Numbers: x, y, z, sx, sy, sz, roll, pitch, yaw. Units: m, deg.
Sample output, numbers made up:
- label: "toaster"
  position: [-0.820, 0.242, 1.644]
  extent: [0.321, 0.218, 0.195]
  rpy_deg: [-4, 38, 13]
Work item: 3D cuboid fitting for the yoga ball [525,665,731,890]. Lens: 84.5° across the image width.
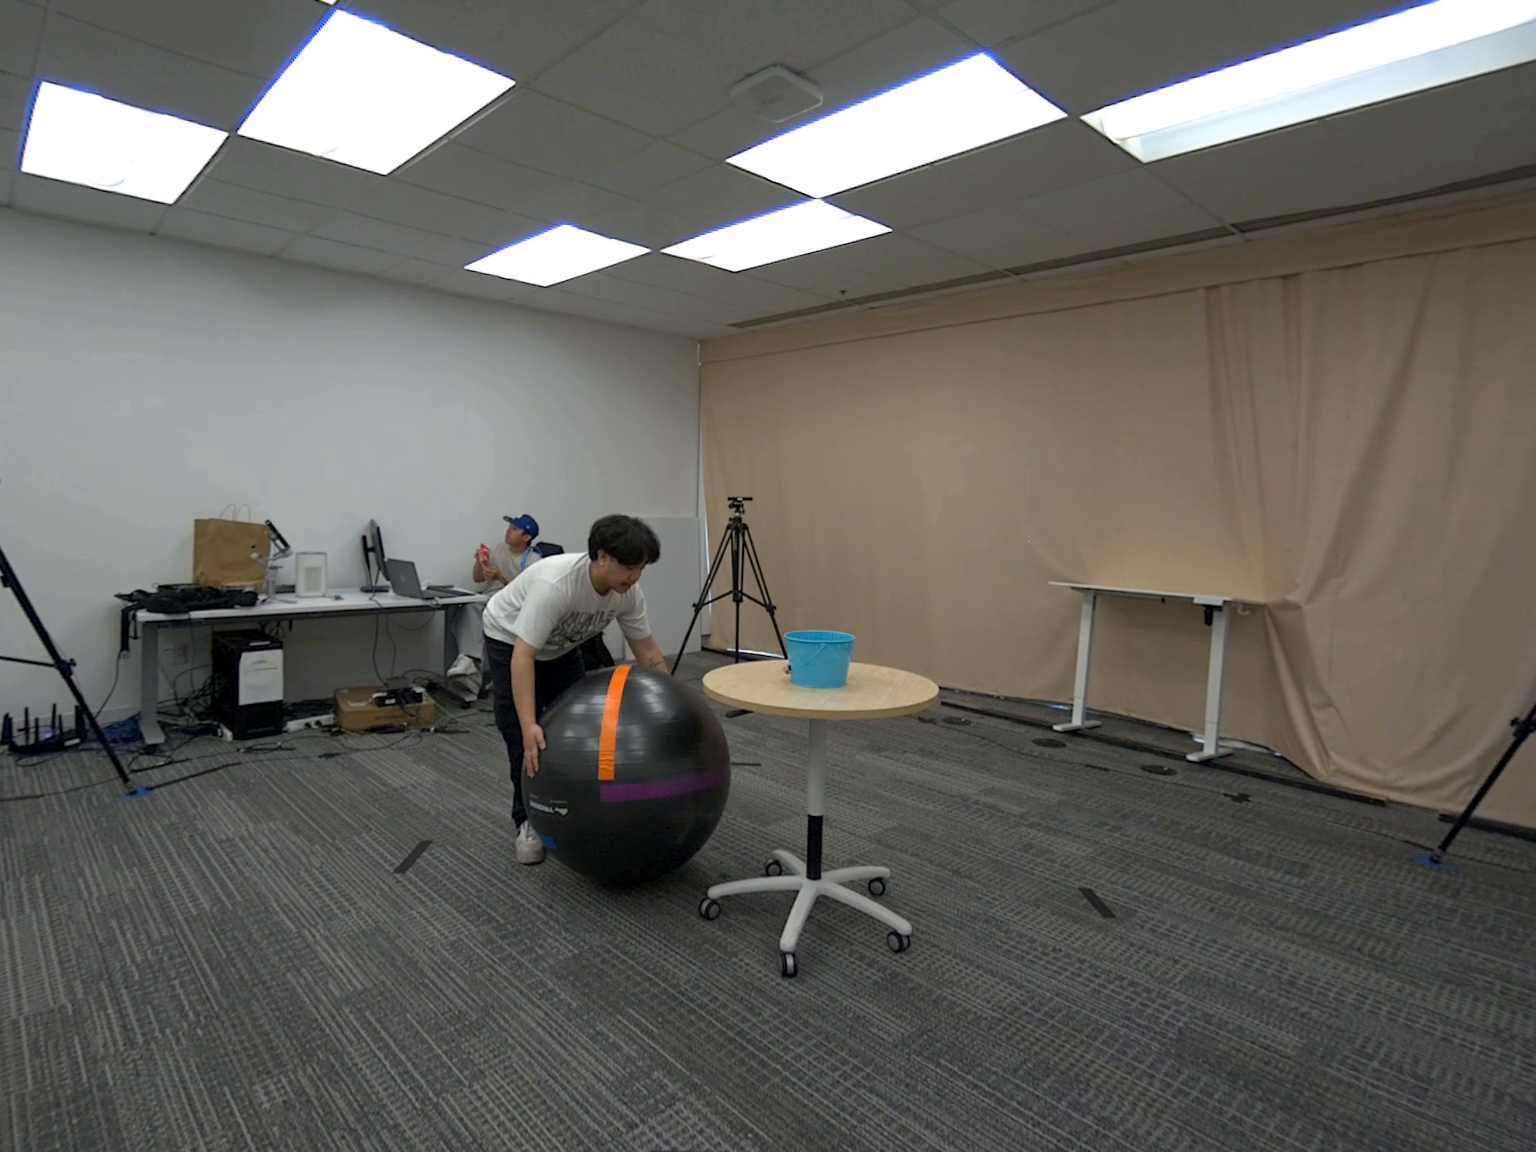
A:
- label: "yoga ball"
  position: [-0.516, 0.720, 3.062]
  extent: [0.757, 0.756, 0.760]
  rpy_deg: [1, 4, -1]
